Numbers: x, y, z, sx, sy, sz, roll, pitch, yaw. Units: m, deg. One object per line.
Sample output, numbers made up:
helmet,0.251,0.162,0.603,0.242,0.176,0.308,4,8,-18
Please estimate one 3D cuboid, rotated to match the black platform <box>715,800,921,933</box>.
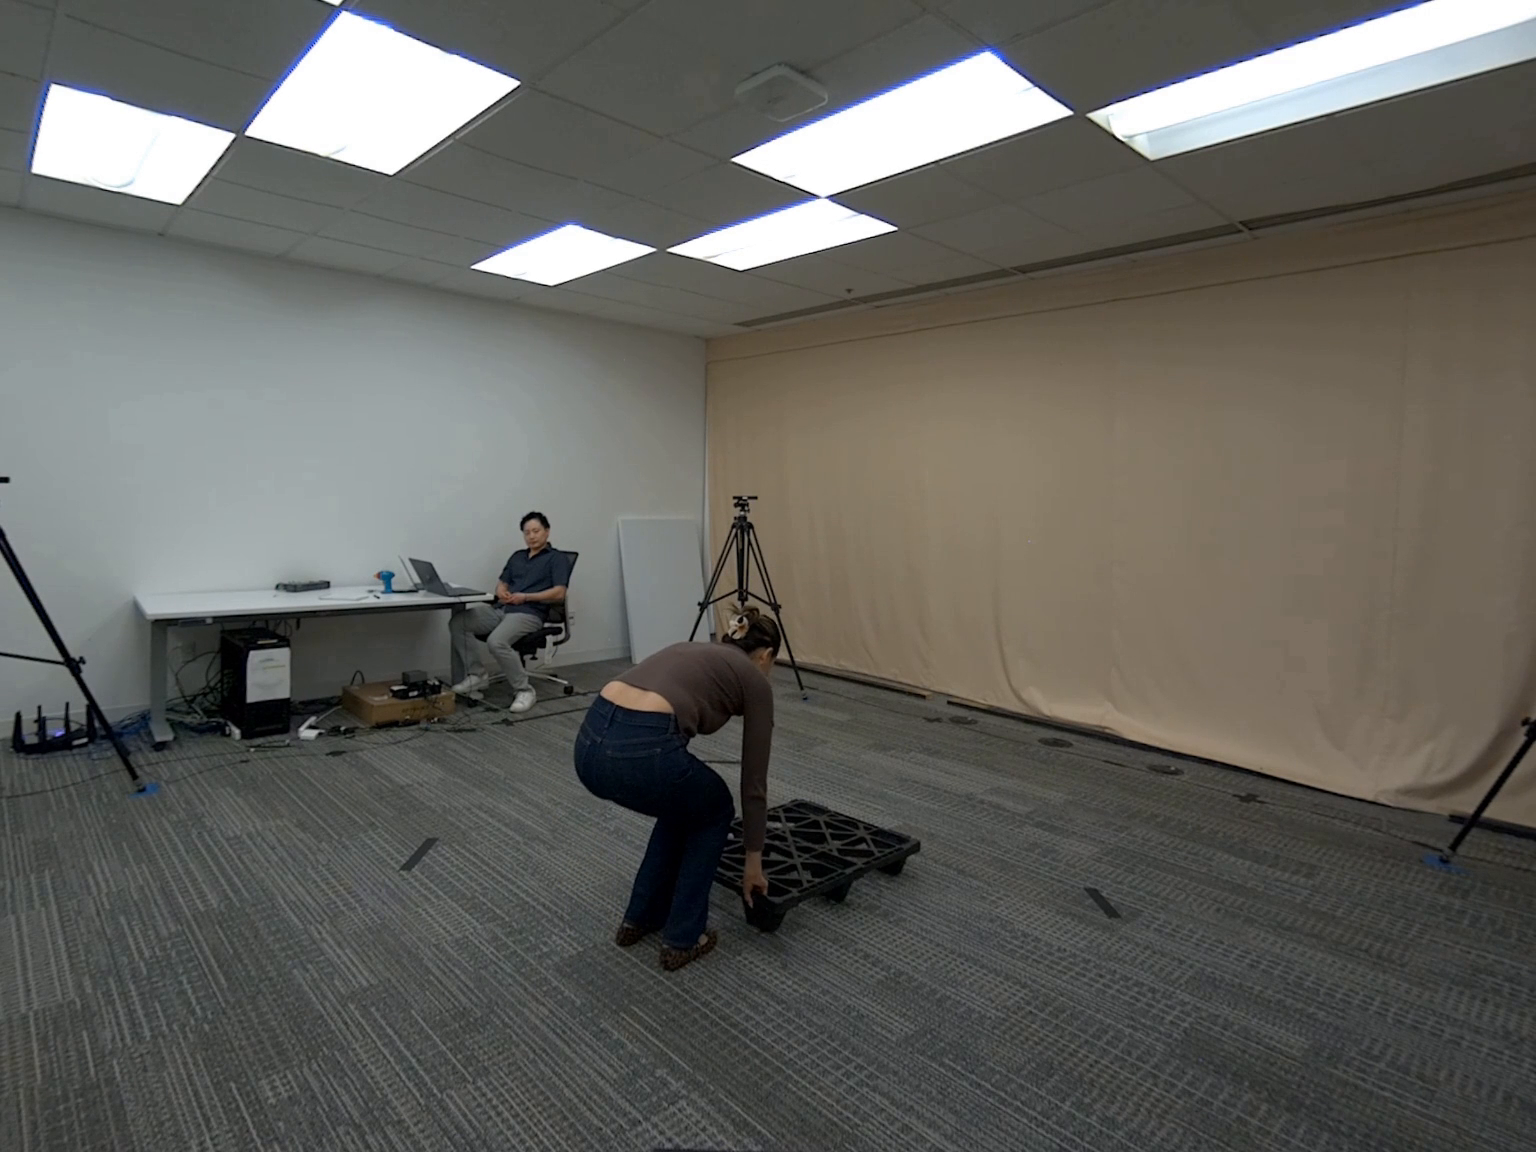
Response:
black platform,0.072,1.036,3.064,0.620,0.143,0.786,5,4,44
